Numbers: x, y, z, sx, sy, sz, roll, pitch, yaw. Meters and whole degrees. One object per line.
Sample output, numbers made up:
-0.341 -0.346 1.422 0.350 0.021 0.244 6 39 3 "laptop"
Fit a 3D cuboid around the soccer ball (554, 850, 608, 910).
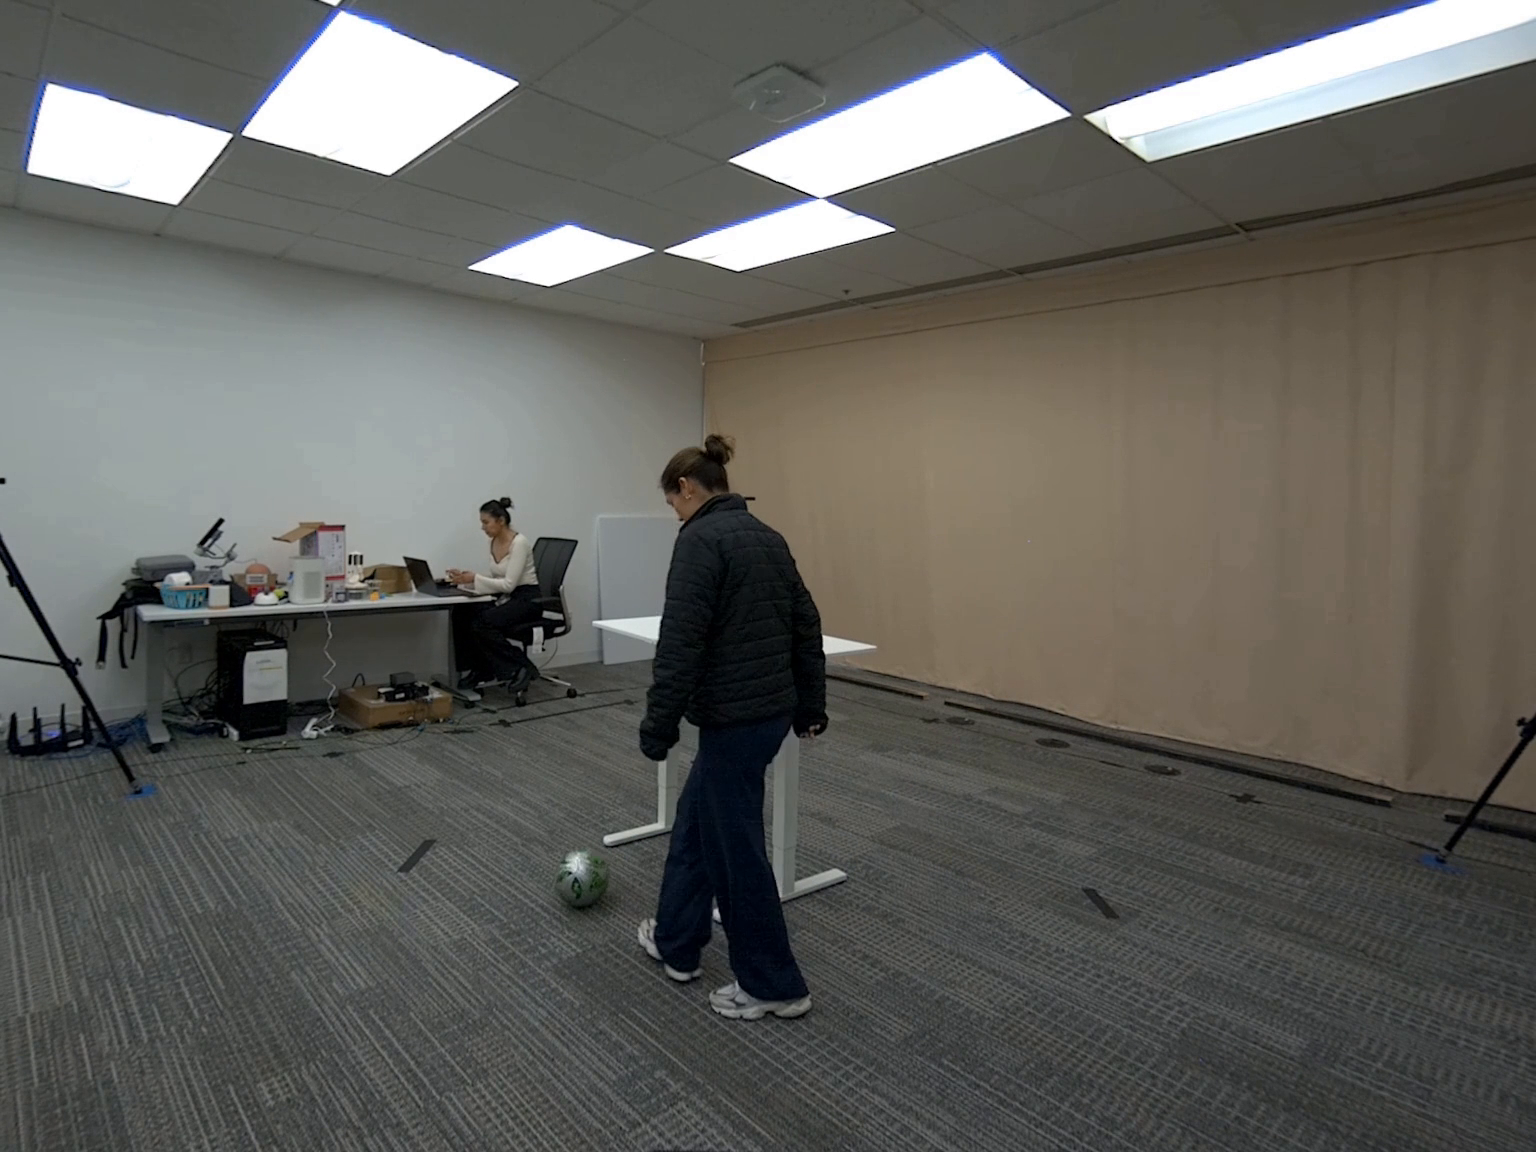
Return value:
-0.639 1.026 2.859 0.187 0.187 0.188 1 4 -1 "soccer ball"
